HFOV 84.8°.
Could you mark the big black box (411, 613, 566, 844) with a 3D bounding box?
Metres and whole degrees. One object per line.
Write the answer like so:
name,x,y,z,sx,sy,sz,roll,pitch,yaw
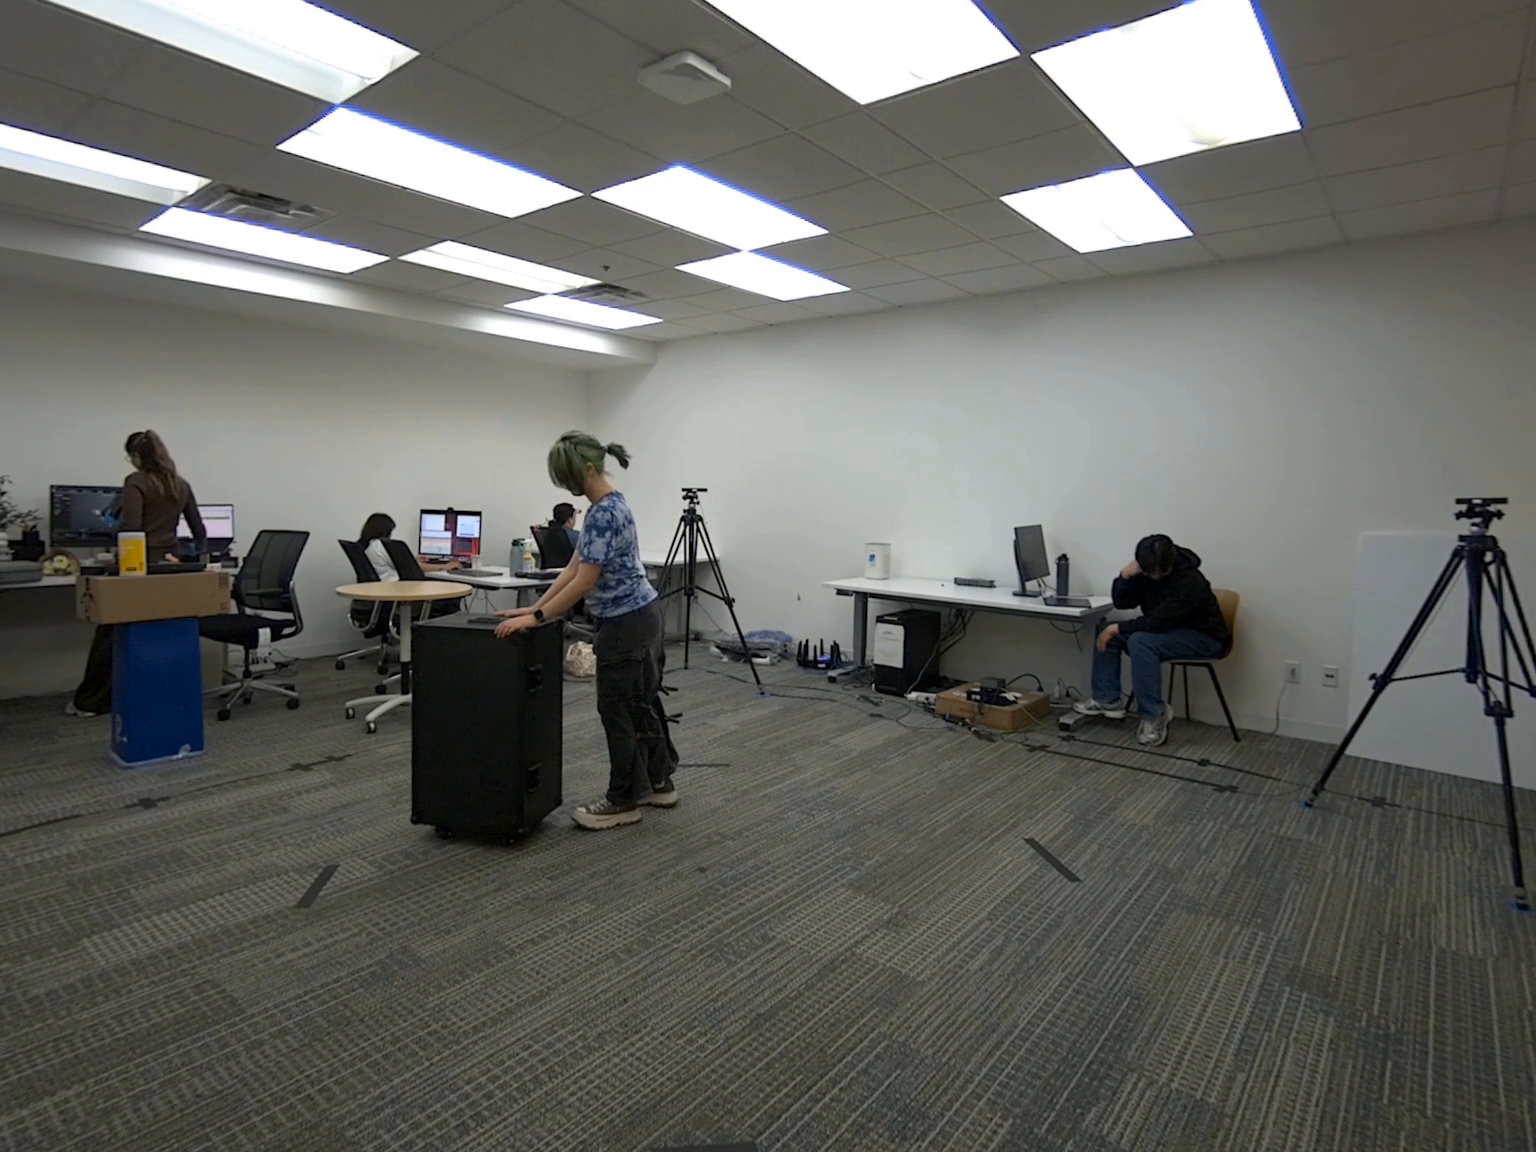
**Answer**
big black box,-1.135,0.600,3.419,0.529,0.860,0.391,2,2,14
